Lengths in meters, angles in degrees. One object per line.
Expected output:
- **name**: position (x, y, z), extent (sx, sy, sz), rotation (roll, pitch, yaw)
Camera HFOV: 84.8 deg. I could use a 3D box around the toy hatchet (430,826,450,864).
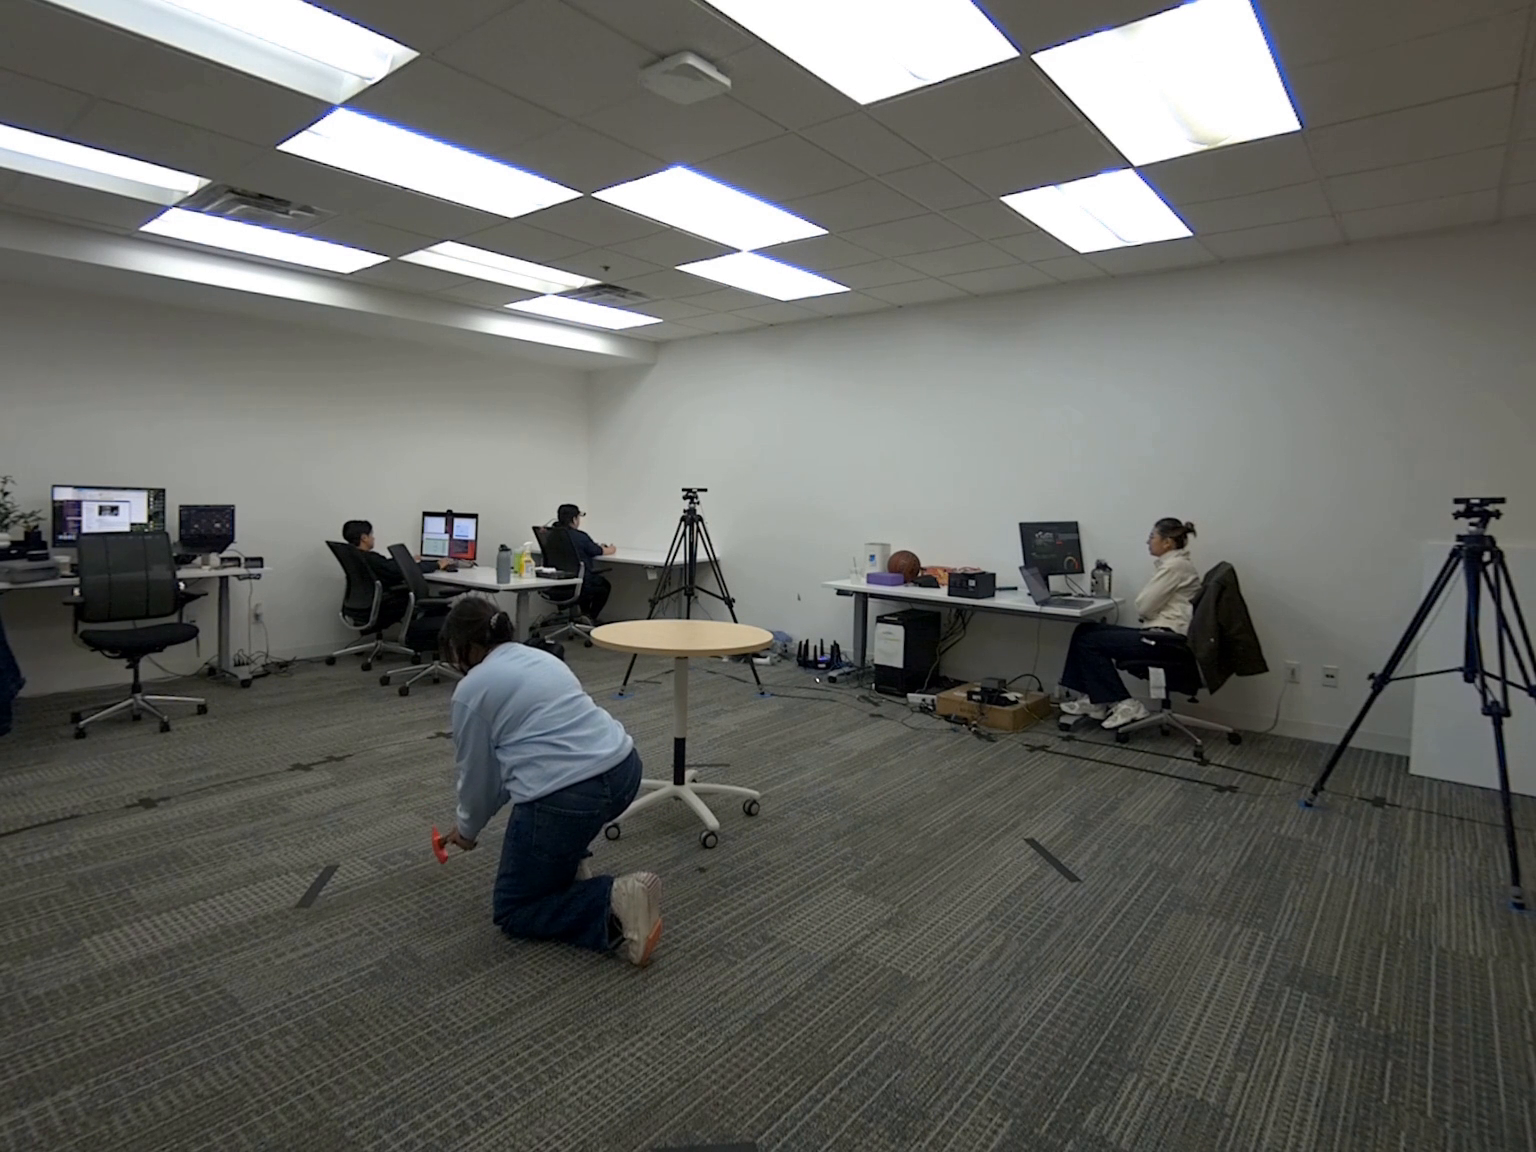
- **toy hatchet**: position (-1.128, 0.954, 2.972), extent (0.028, 0.132, 0.277), rotation (2, -6, -41)
